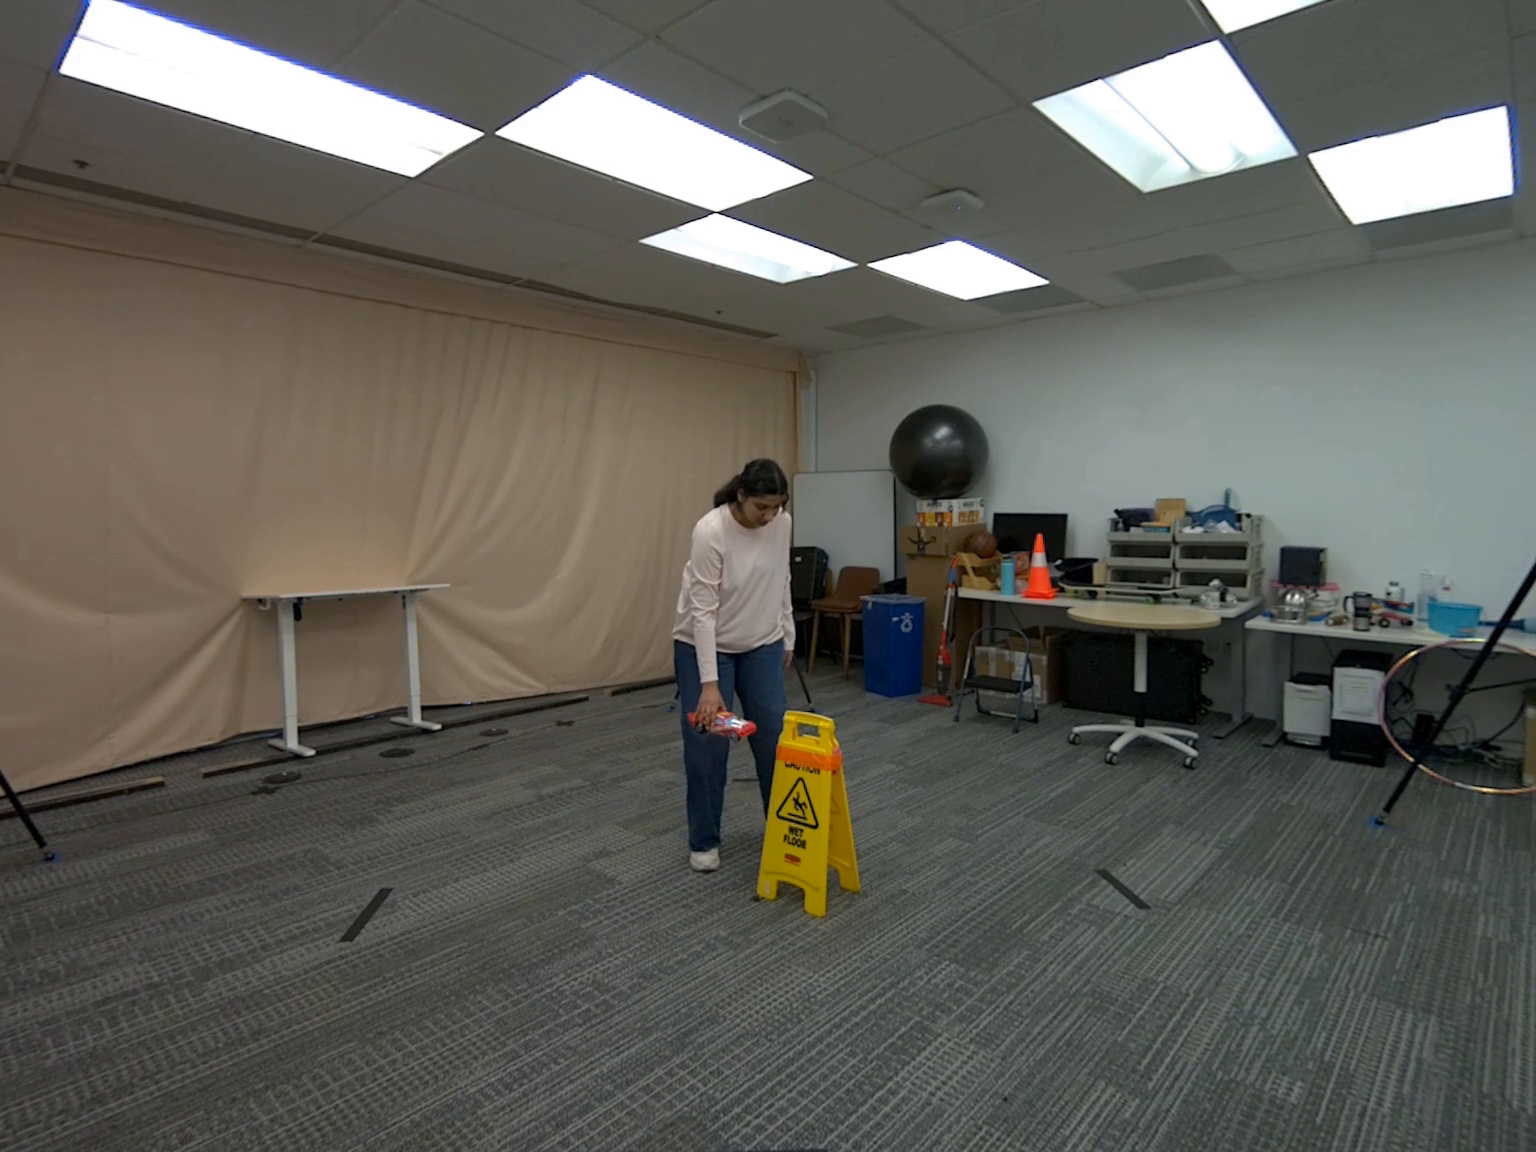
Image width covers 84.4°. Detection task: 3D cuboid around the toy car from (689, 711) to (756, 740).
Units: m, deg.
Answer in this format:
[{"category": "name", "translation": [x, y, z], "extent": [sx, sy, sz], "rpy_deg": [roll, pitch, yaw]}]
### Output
[{"category": "toy car", "translation": [-0.163, 0.533, 3.017], "extent": [0.263, 0.082, 0.127], "rpy_deg": [18, 17, 34]}]
